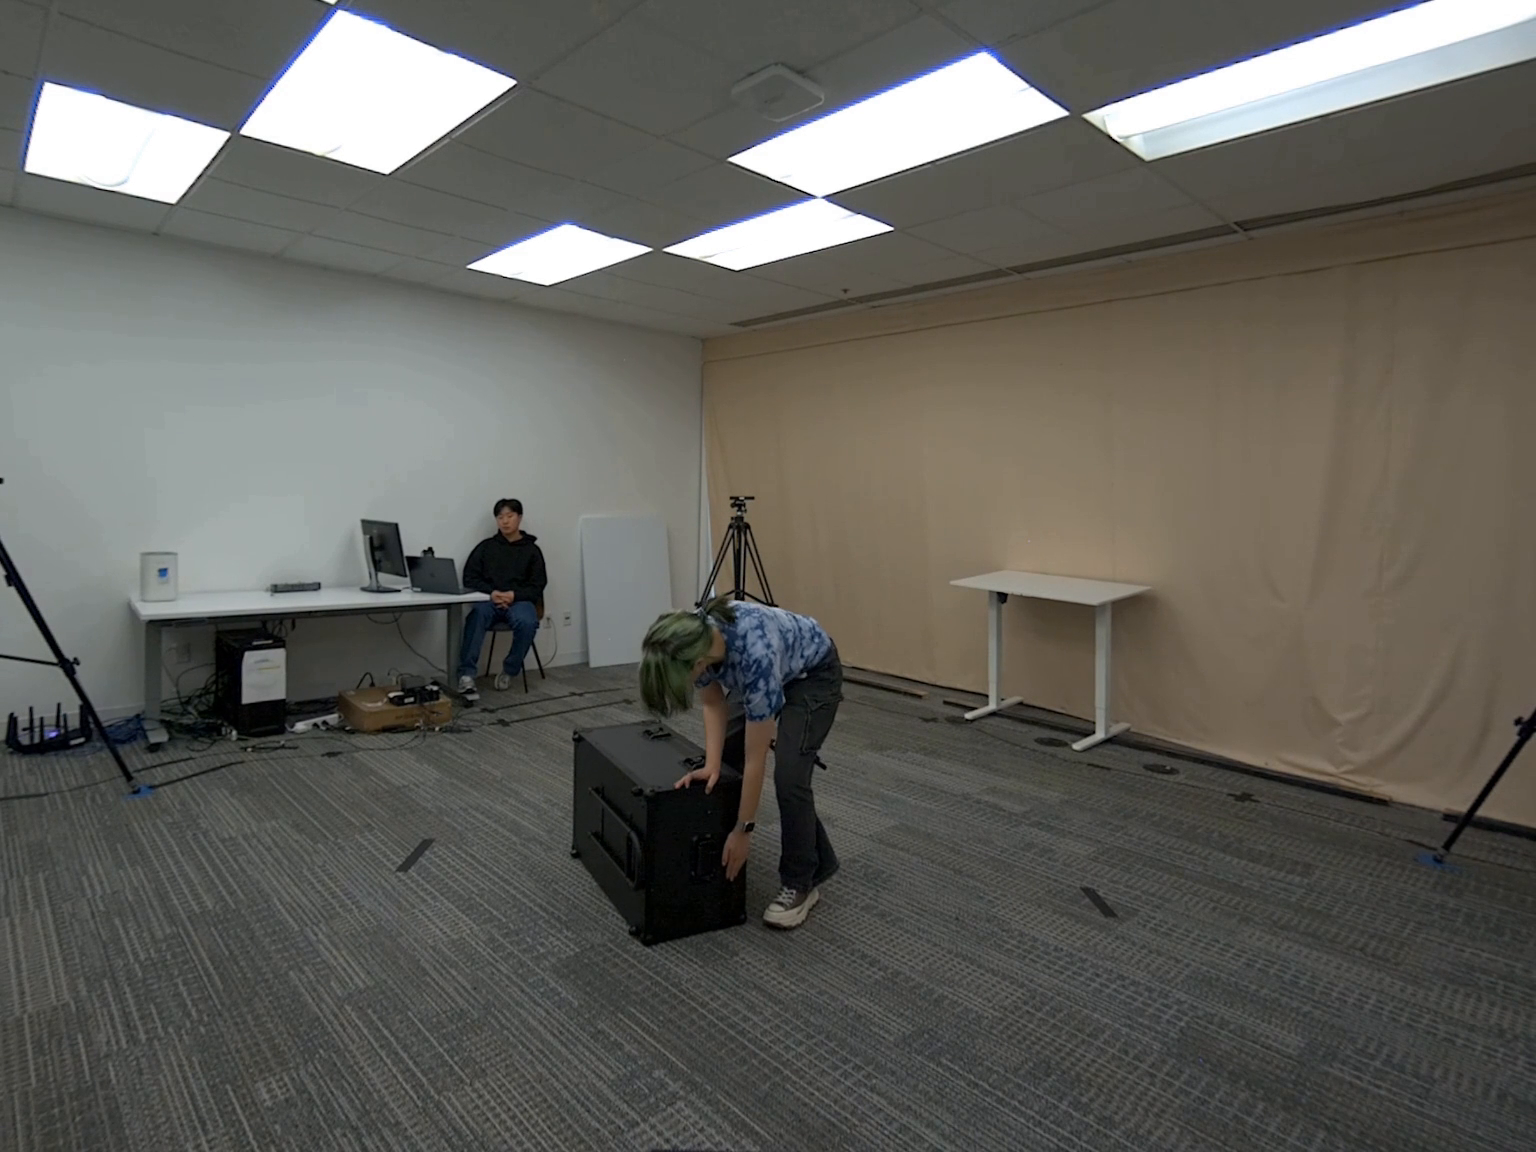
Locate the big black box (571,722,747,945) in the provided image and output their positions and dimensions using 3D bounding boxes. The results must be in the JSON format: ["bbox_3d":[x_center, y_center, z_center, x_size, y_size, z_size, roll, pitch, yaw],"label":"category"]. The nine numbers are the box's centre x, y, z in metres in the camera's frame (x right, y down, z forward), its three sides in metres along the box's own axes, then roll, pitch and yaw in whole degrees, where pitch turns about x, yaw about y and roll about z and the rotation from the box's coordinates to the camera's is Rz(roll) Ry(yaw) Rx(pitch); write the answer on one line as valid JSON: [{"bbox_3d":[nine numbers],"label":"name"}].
[{"bbox_3d":[-0.449,0.858,3.023,0.389,0.520,0.880,-1,5,-27],"label":"big black box"}]
